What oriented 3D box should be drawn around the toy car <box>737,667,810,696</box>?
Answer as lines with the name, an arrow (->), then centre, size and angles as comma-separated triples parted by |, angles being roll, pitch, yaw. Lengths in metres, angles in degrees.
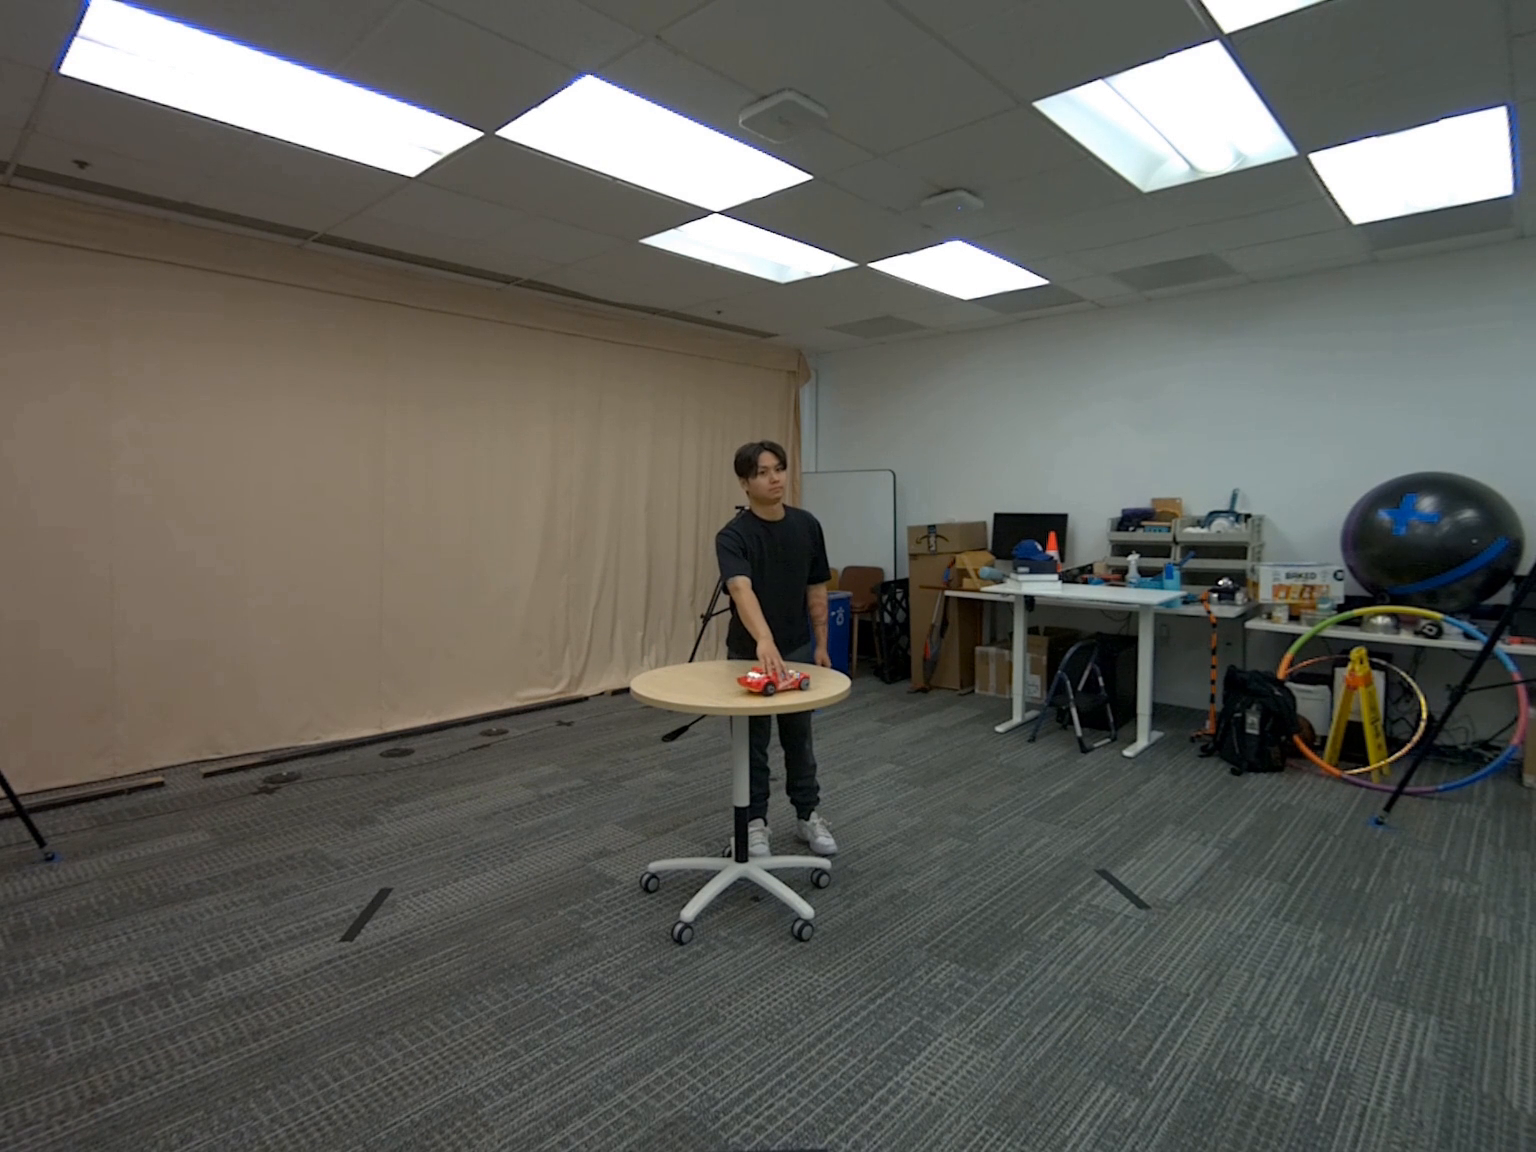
toy car -> 0.014, 0.348, 2.766 | 0.246, 0.083, 0.134 | 9, -3, -35
